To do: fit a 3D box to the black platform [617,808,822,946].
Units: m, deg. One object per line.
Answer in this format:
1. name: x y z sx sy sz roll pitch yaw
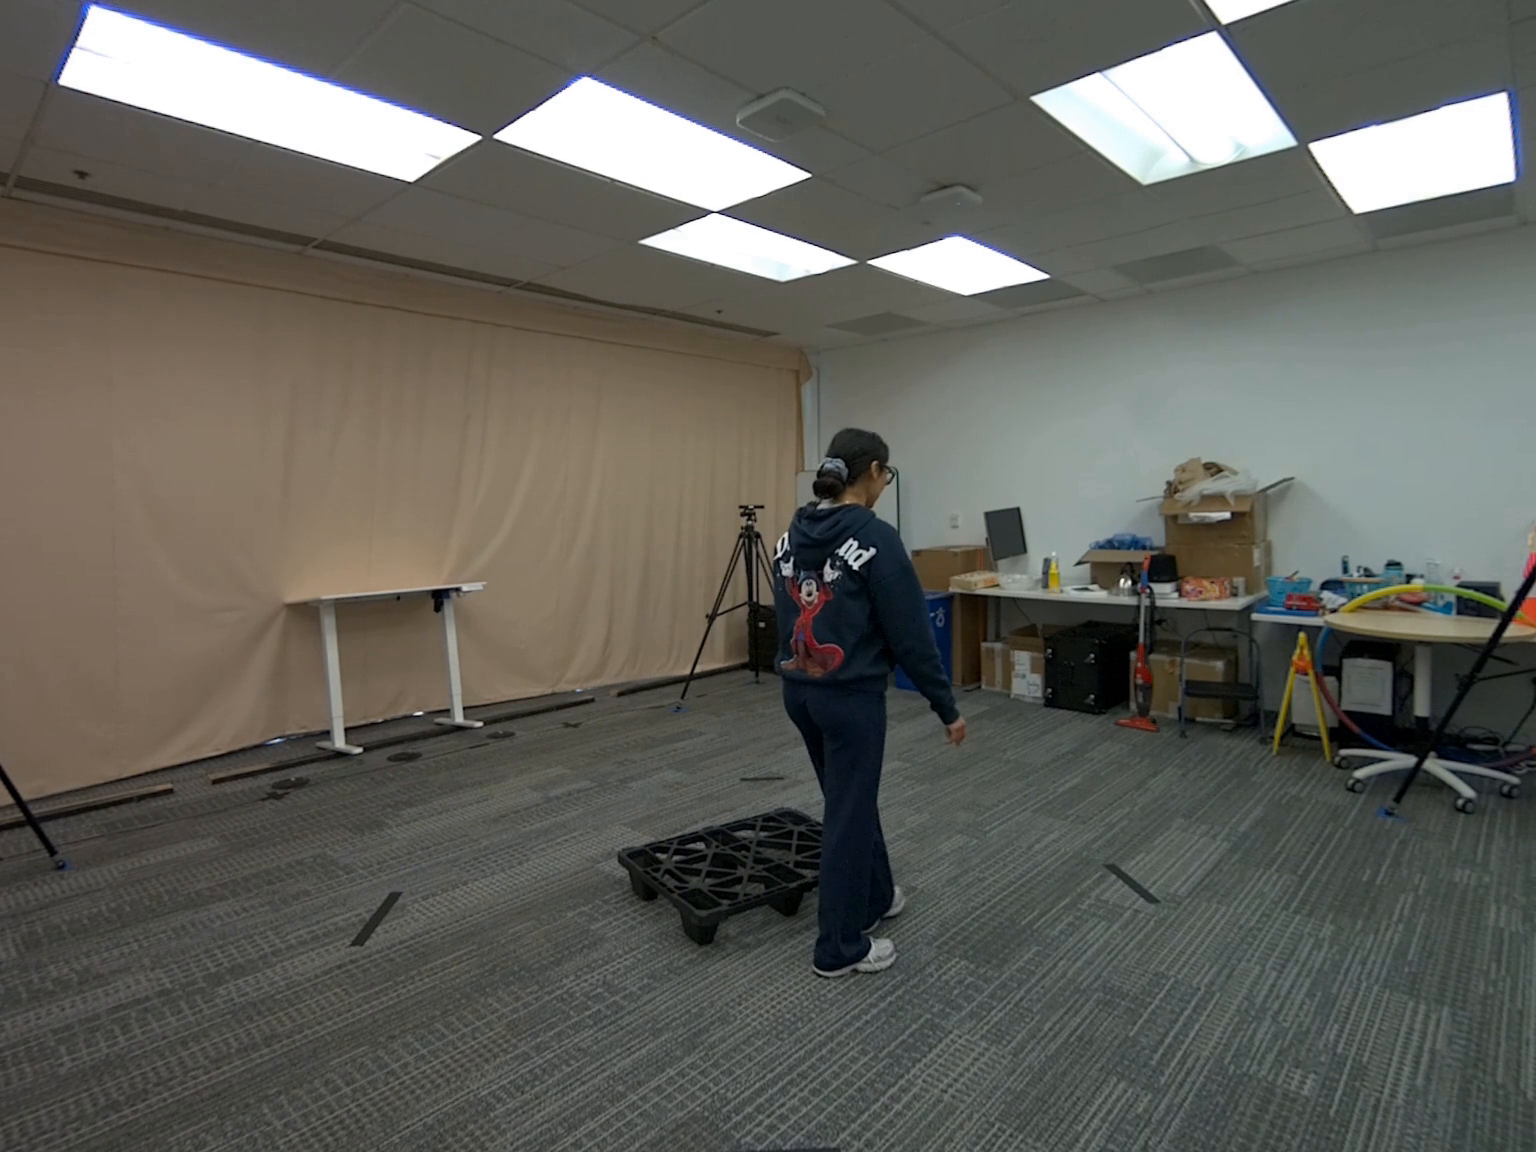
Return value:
1. black platform: -0.062 1.072 3.050 0.783 0.143 0.624 -4 5 -34
